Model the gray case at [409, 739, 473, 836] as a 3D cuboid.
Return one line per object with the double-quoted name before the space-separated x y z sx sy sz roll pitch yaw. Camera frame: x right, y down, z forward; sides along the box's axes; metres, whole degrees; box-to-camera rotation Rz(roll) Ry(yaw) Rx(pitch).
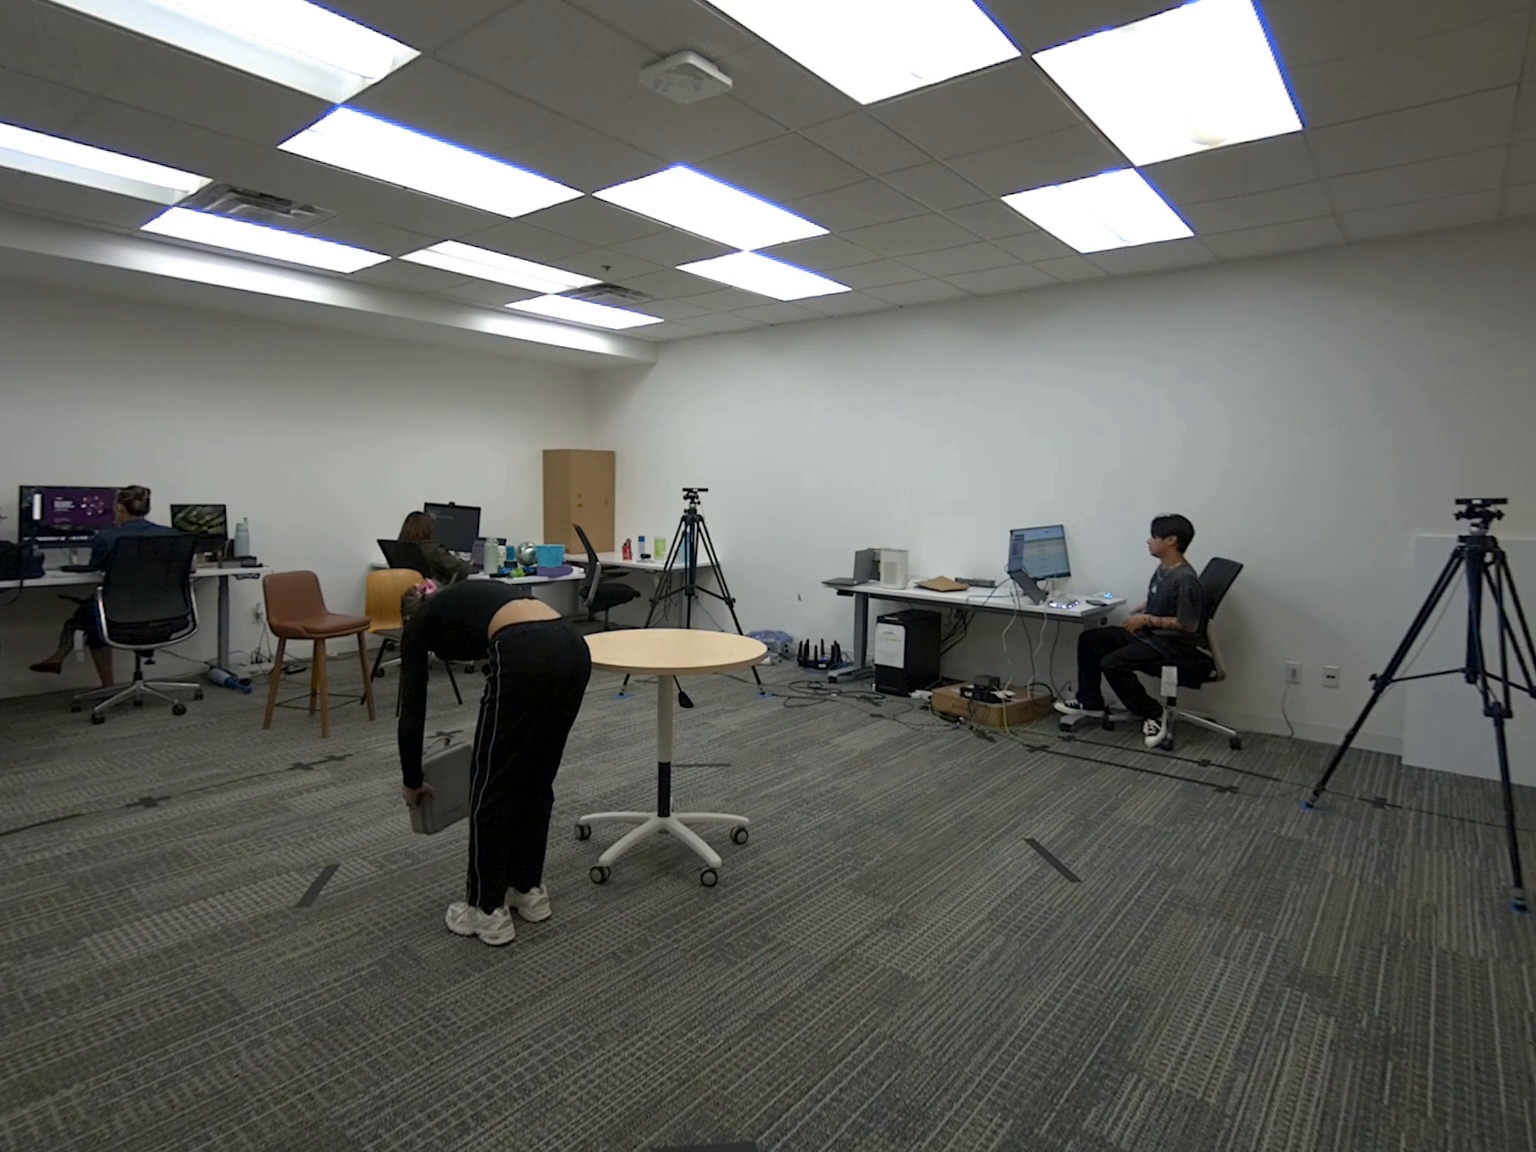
"gray case" -1.117 0.715 2.908 0.106 0.260 0.253 -6 2 19
